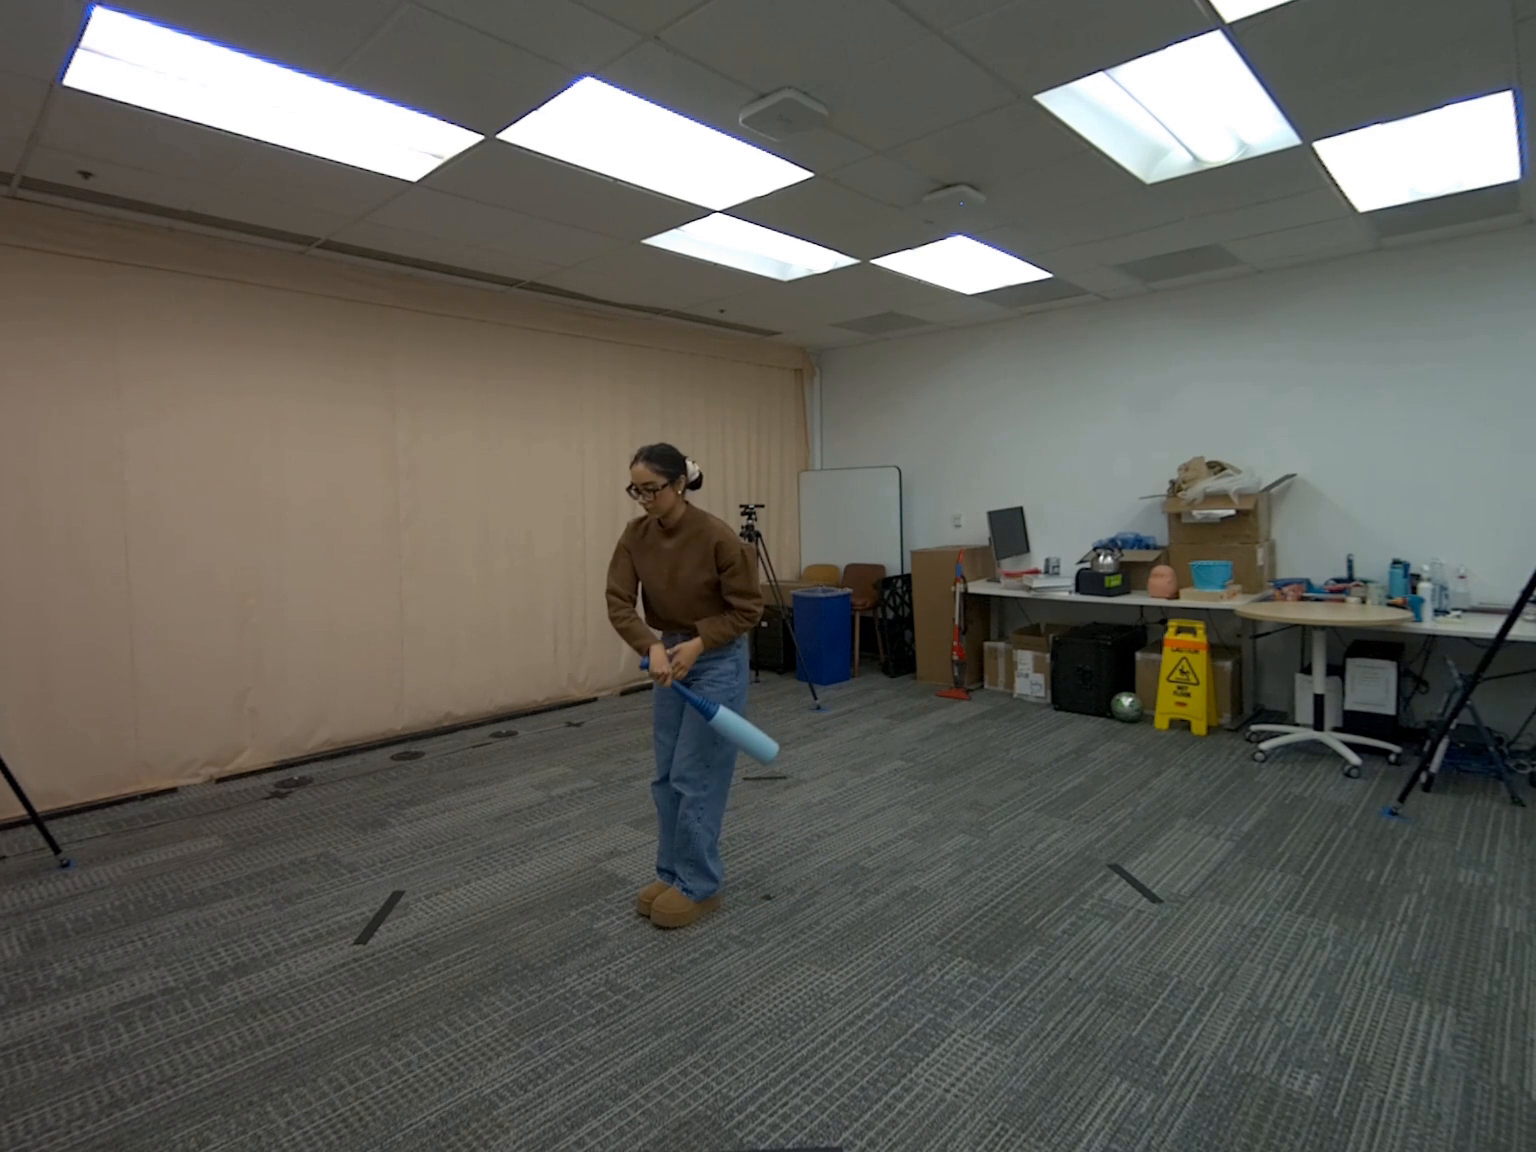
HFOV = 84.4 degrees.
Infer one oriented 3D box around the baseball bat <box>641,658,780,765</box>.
[{"bbox_3d":[-0.183,0.428,2.732,0.538,0.089,0.090,38,-3,-7],"label":"baseball bat"}]
